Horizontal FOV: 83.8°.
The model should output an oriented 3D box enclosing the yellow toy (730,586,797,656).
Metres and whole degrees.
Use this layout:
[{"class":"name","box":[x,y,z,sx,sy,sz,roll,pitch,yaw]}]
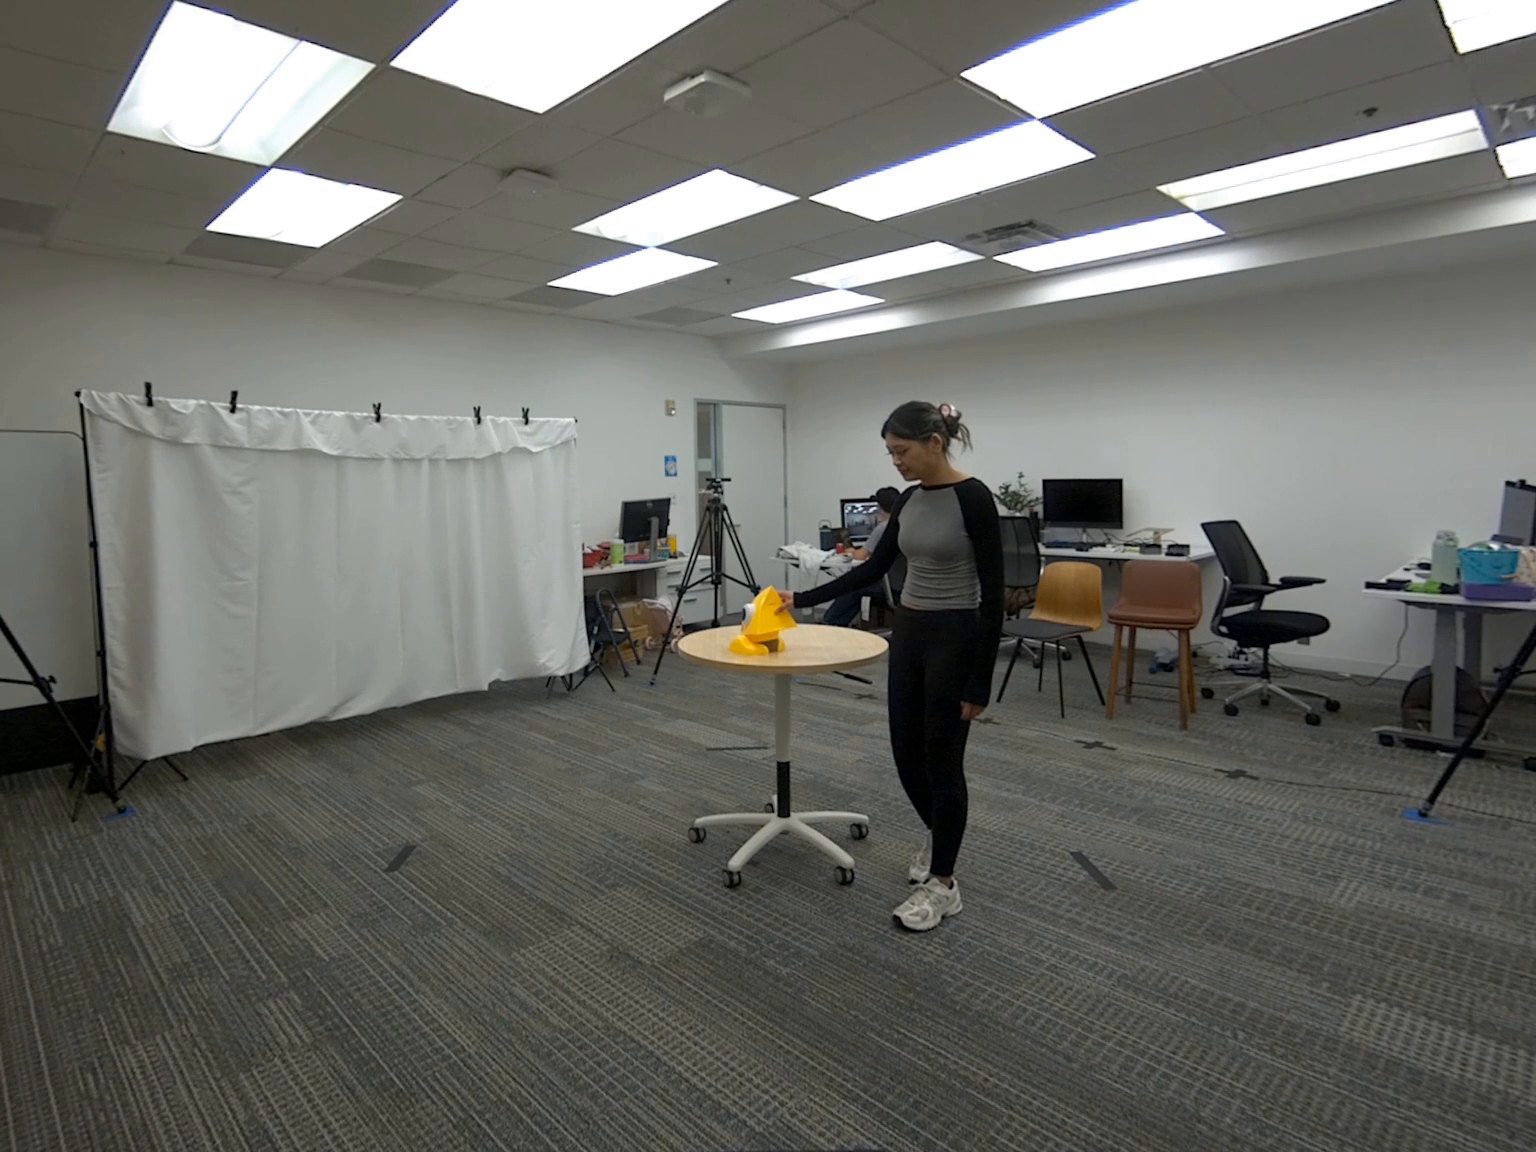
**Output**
[{"class":"yellow toy","box":[-0.027,0.145,3.007,0.199,0.230,0.199,3,7,44]}]
